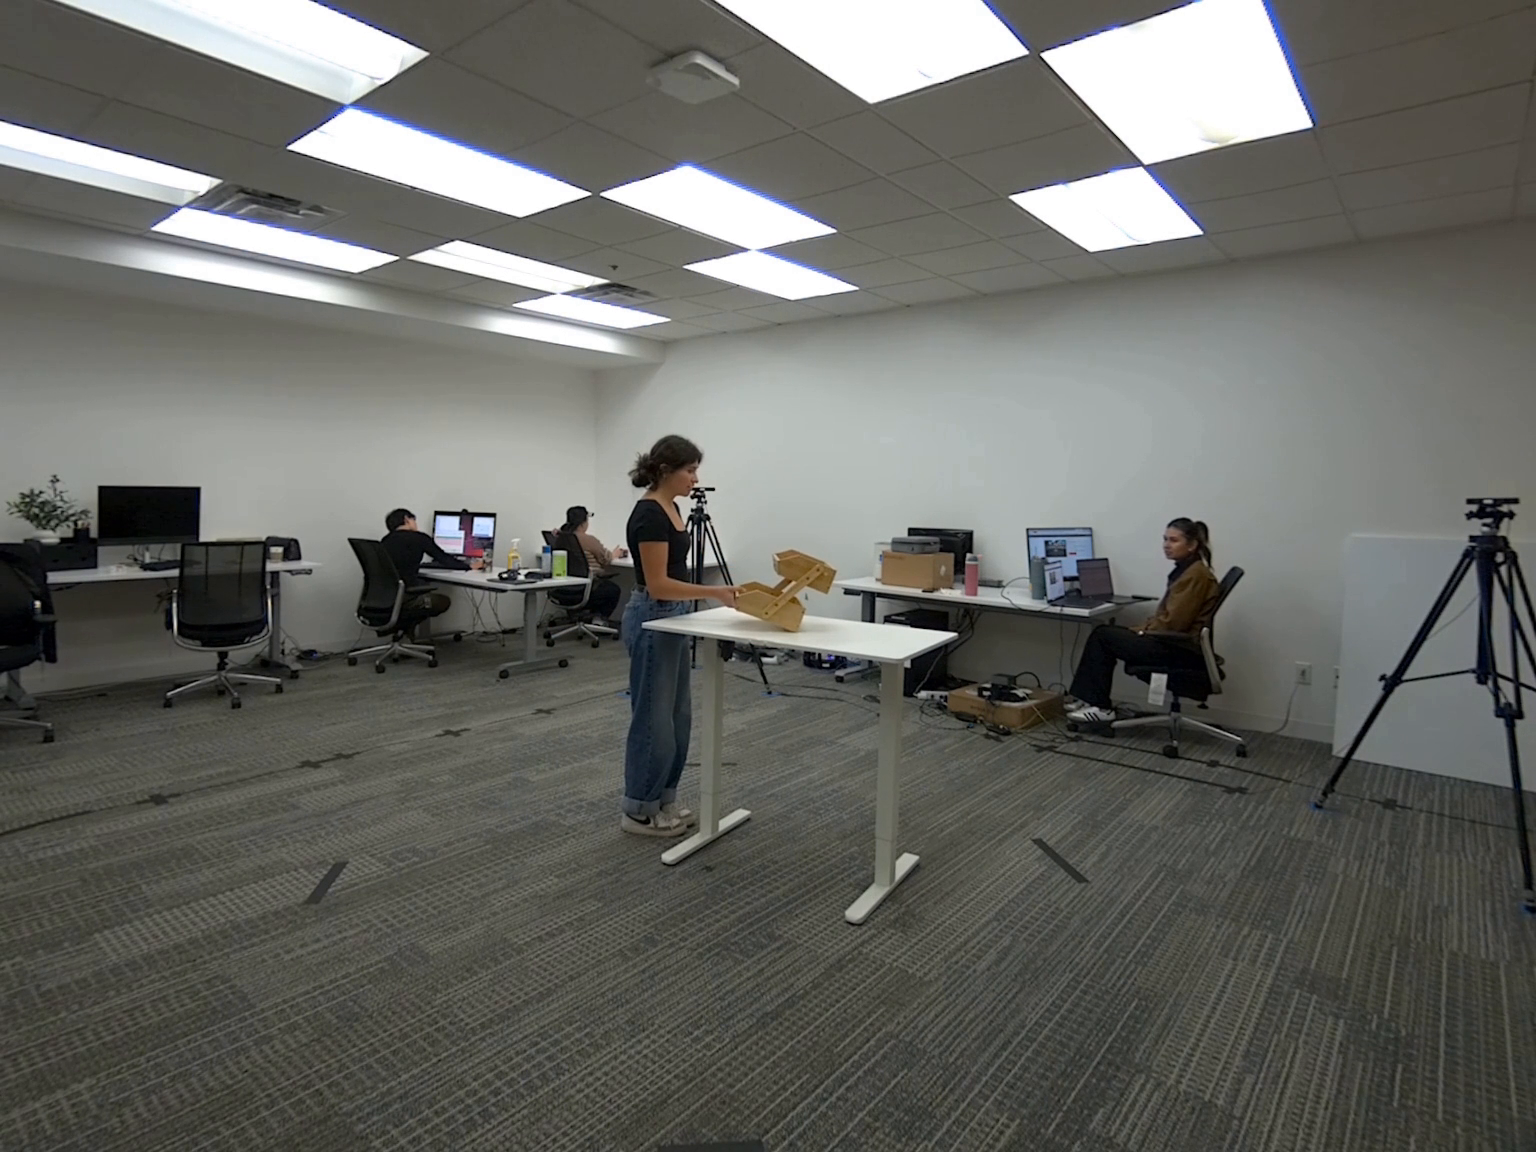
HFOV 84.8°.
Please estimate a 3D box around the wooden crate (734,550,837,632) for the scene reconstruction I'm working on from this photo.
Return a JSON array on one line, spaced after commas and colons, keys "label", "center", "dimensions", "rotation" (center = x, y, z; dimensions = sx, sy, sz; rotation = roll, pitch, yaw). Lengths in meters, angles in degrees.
[{"label": "wooden crate", "center": [0.047, 0.030, 3.173], "dimensions": [0.302, 0.272, 0.326], "rotation": [20, 5, -2]}]
